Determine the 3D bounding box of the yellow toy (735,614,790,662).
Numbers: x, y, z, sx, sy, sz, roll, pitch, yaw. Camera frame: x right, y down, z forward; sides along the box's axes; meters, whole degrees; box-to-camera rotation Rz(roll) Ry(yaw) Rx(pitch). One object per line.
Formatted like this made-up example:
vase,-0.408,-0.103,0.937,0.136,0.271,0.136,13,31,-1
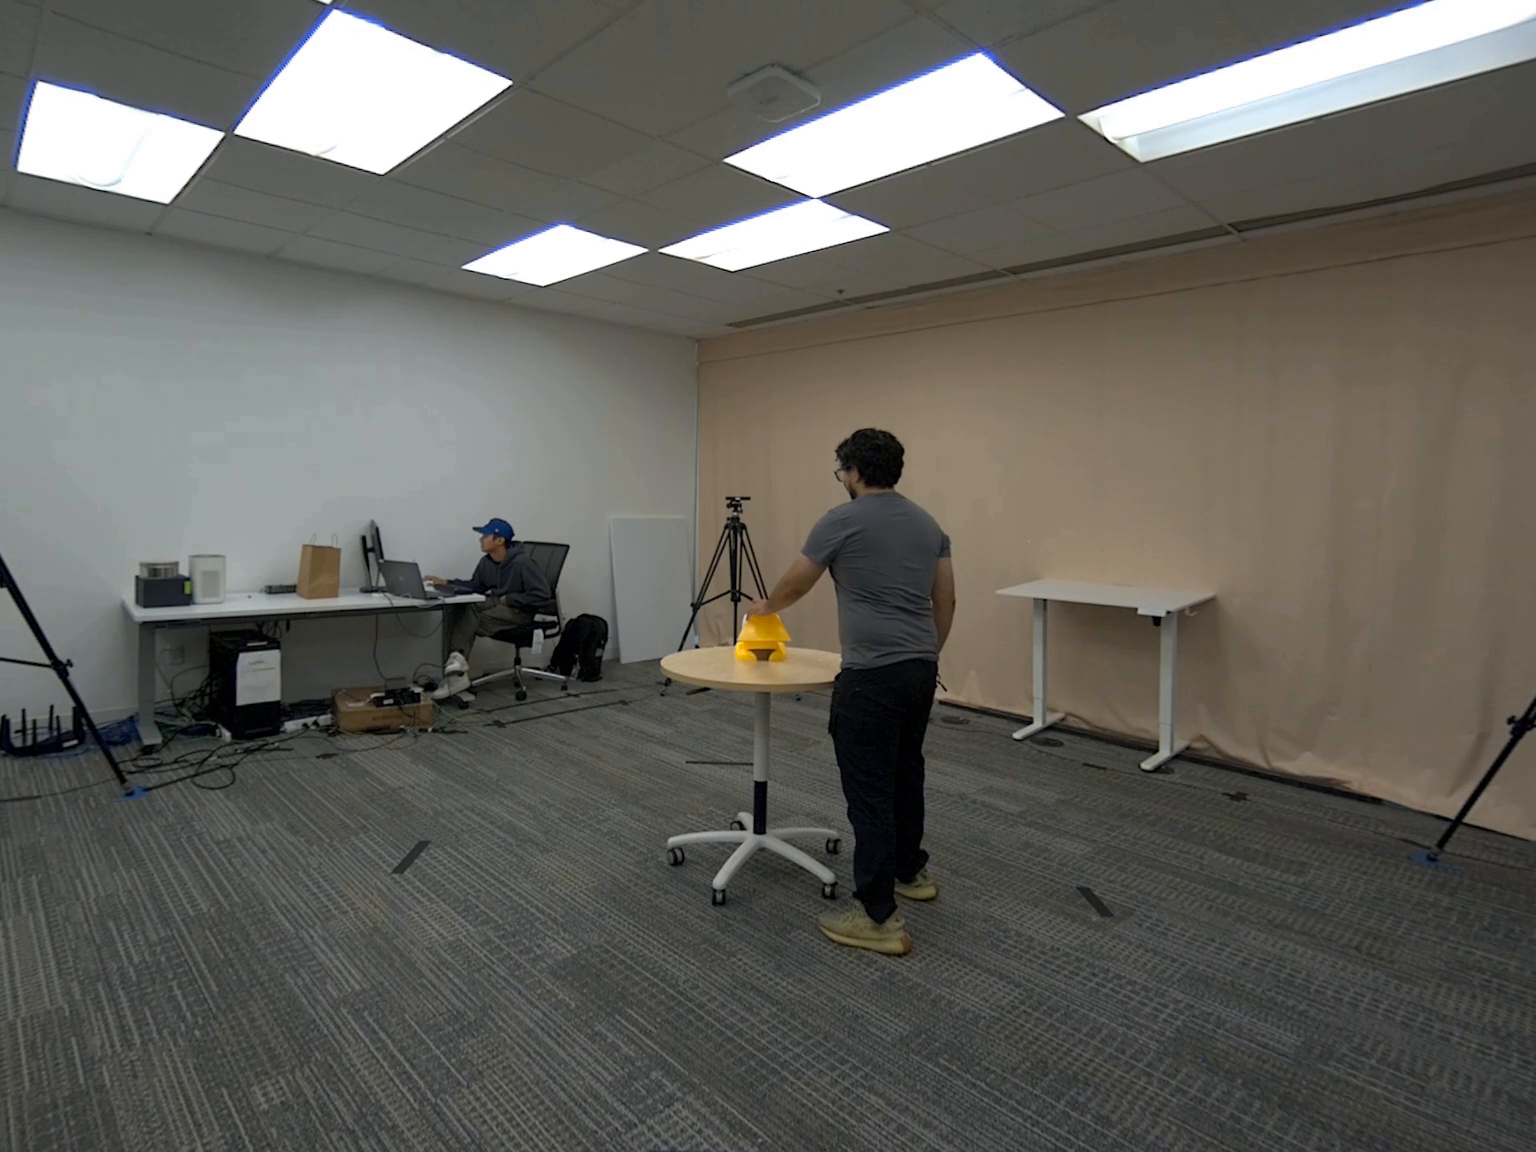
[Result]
yellow toy,-0.039,0.202,3.239,0.203,0.230,0.194,0,2,-8
